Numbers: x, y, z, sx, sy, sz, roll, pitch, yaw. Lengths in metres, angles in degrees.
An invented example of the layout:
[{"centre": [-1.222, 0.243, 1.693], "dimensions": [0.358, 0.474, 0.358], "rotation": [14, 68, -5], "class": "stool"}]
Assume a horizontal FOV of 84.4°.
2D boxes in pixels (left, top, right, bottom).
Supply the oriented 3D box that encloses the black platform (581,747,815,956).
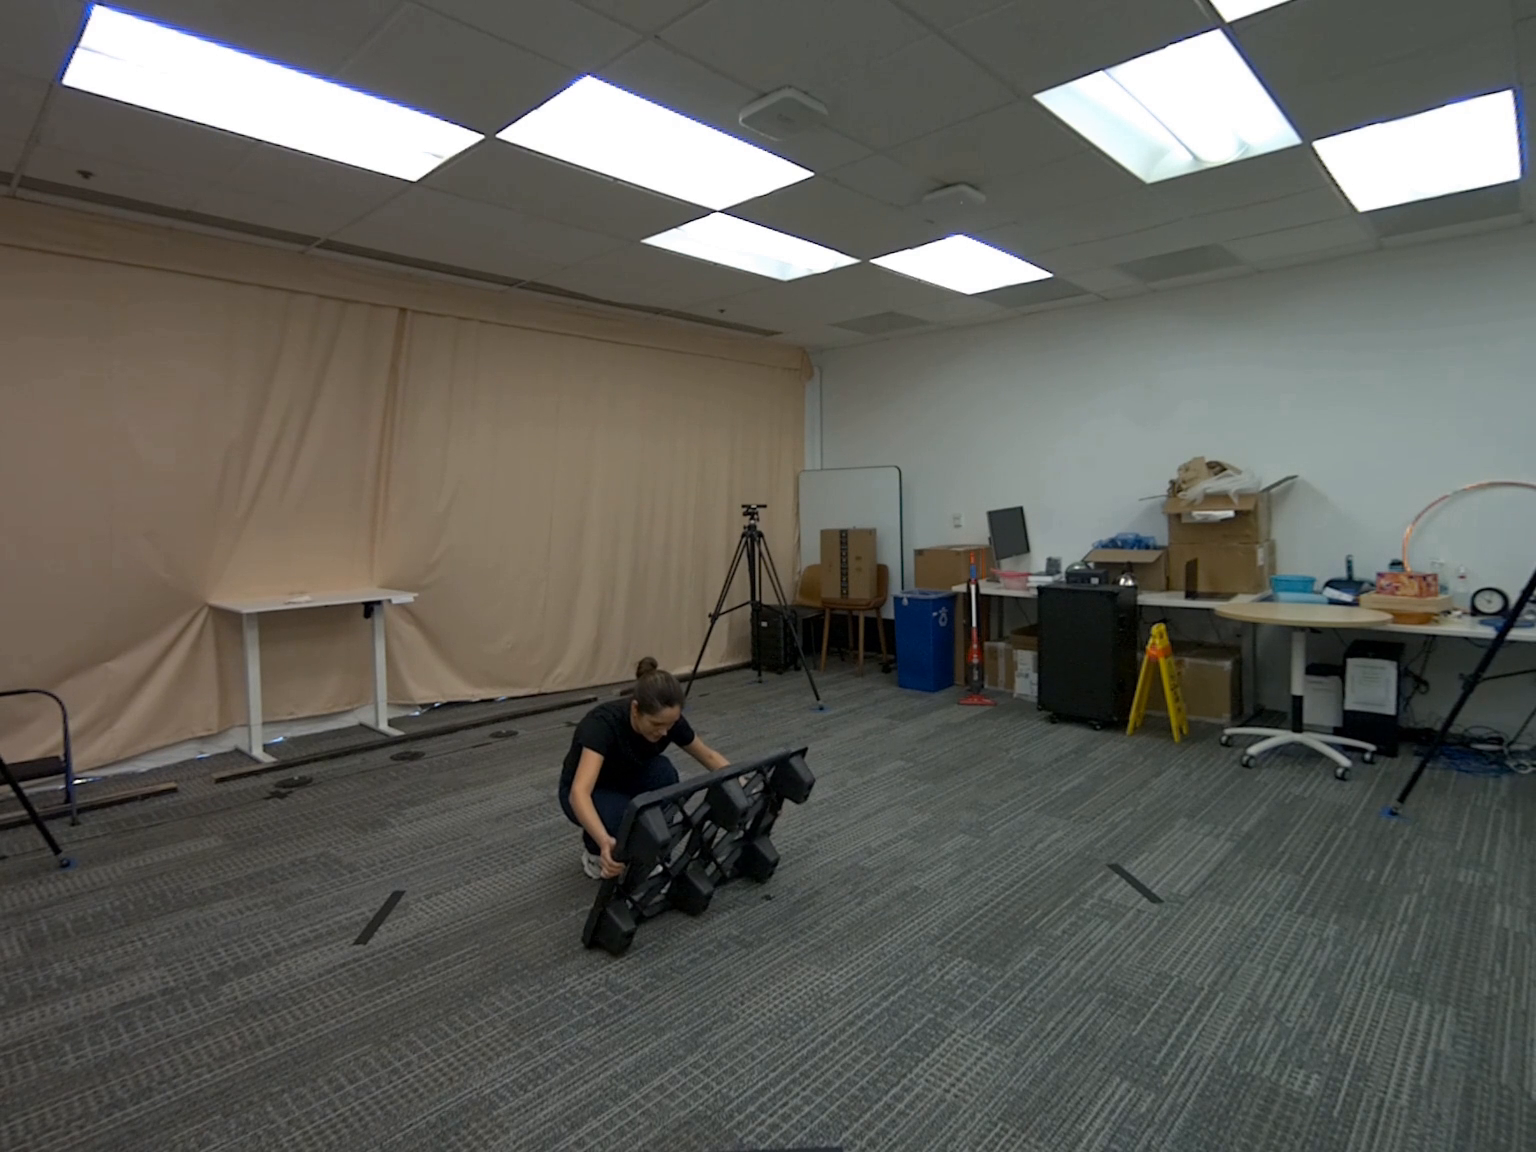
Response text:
[{"centre": [-0.180, 0.908, 2.800], "dimensions": [0.781, 0.602, 0.148], "rotation": [-6, 33, -47], "class": "black platform"}]
